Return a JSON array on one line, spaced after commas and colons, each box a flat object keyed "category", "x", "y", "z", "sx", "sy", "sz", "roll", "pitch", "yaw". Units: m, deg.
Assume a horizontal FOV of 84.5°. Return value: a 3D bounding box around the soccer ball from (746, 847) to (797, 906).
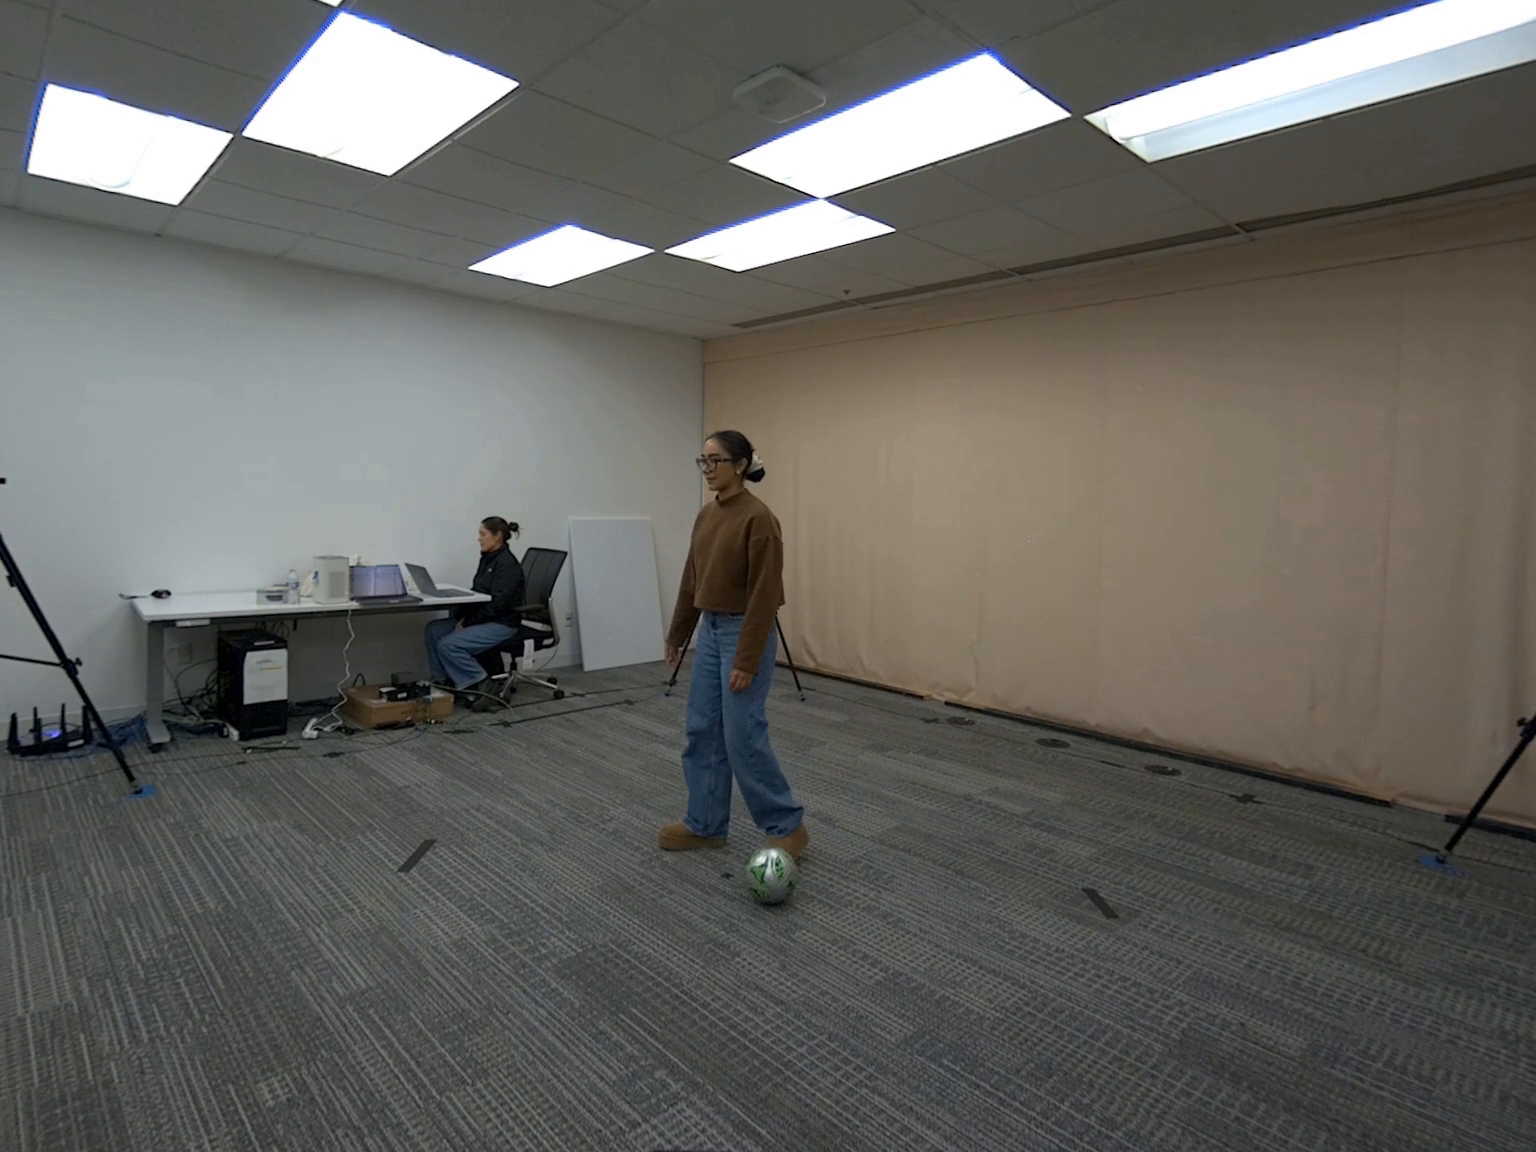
[{"category": "soccer ball", "x": -0.002, "y": 1.034, "z": 2.909, "sx": 0.187, "sy": 0.187, "sz": 0.188, "roll": 1, "pitch": 4, "yaw": -1}]
